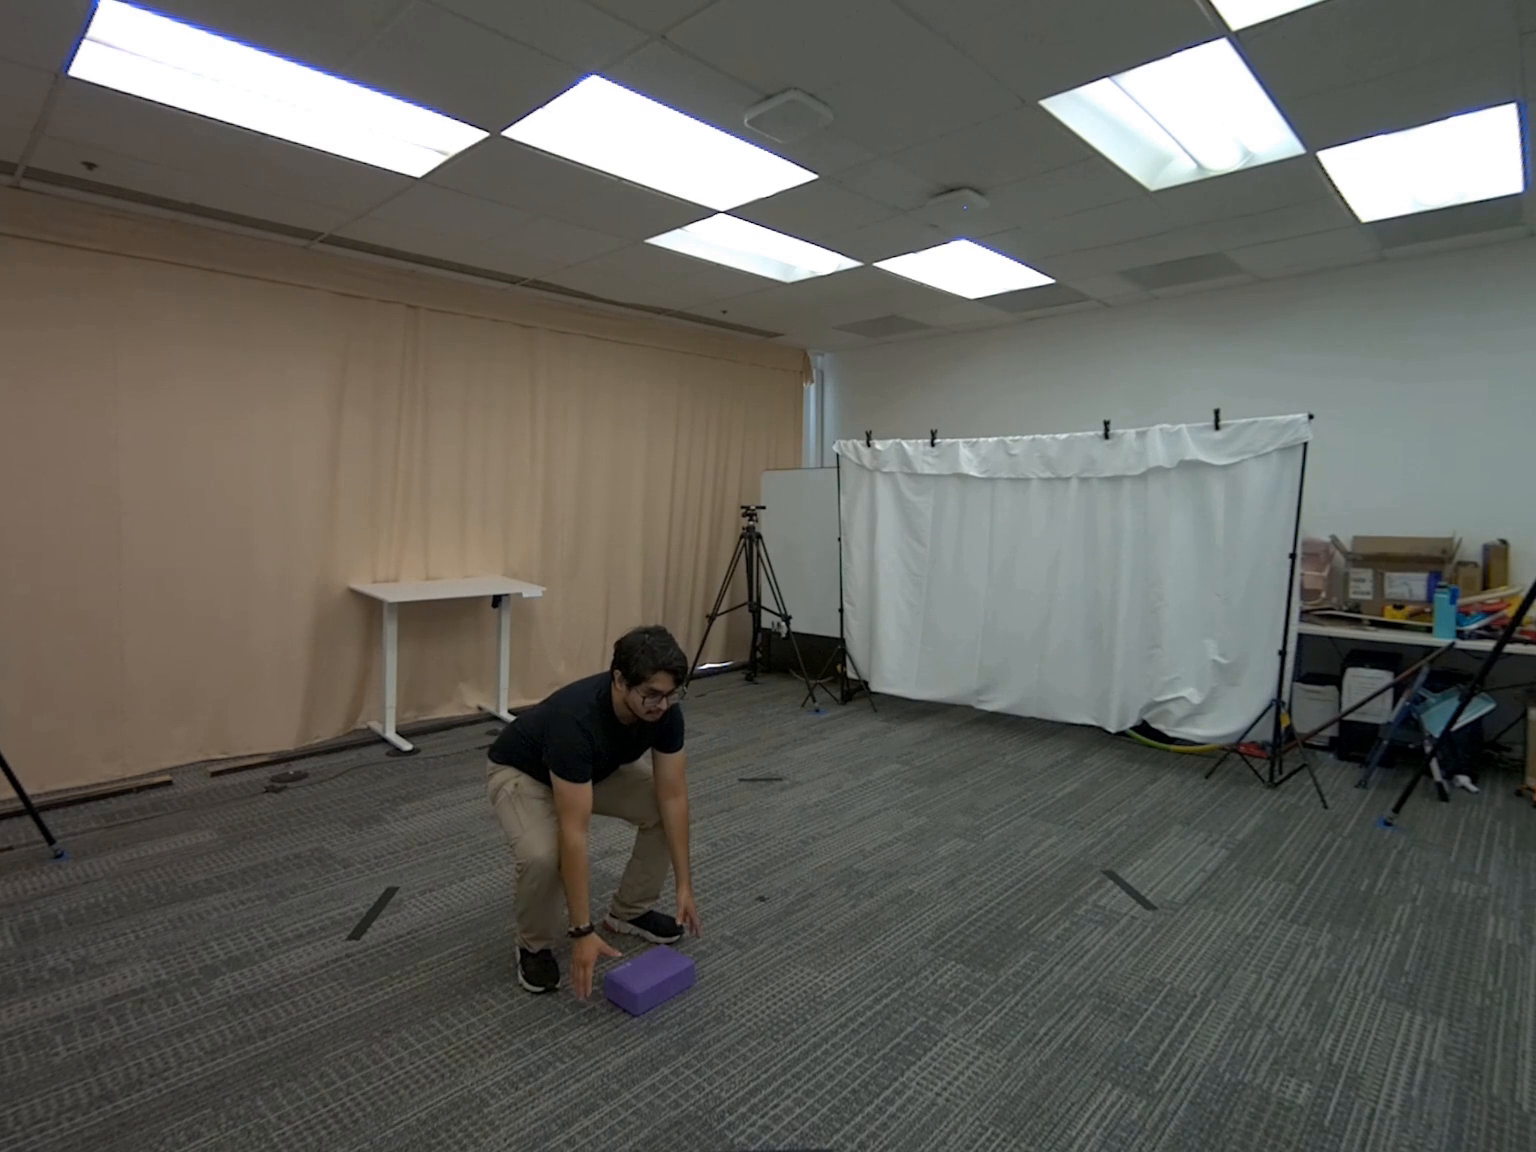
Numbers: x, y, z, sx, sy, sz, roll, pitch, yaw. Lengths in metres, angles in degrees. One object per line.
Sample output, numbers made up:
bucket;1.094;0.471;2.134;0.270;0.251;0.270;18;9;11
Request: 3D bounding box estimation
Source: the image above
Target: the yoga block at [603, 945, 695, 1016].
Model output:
yoga block;-0.335;1.146;2.419;0.154;0.076;0.222;6;7;44
